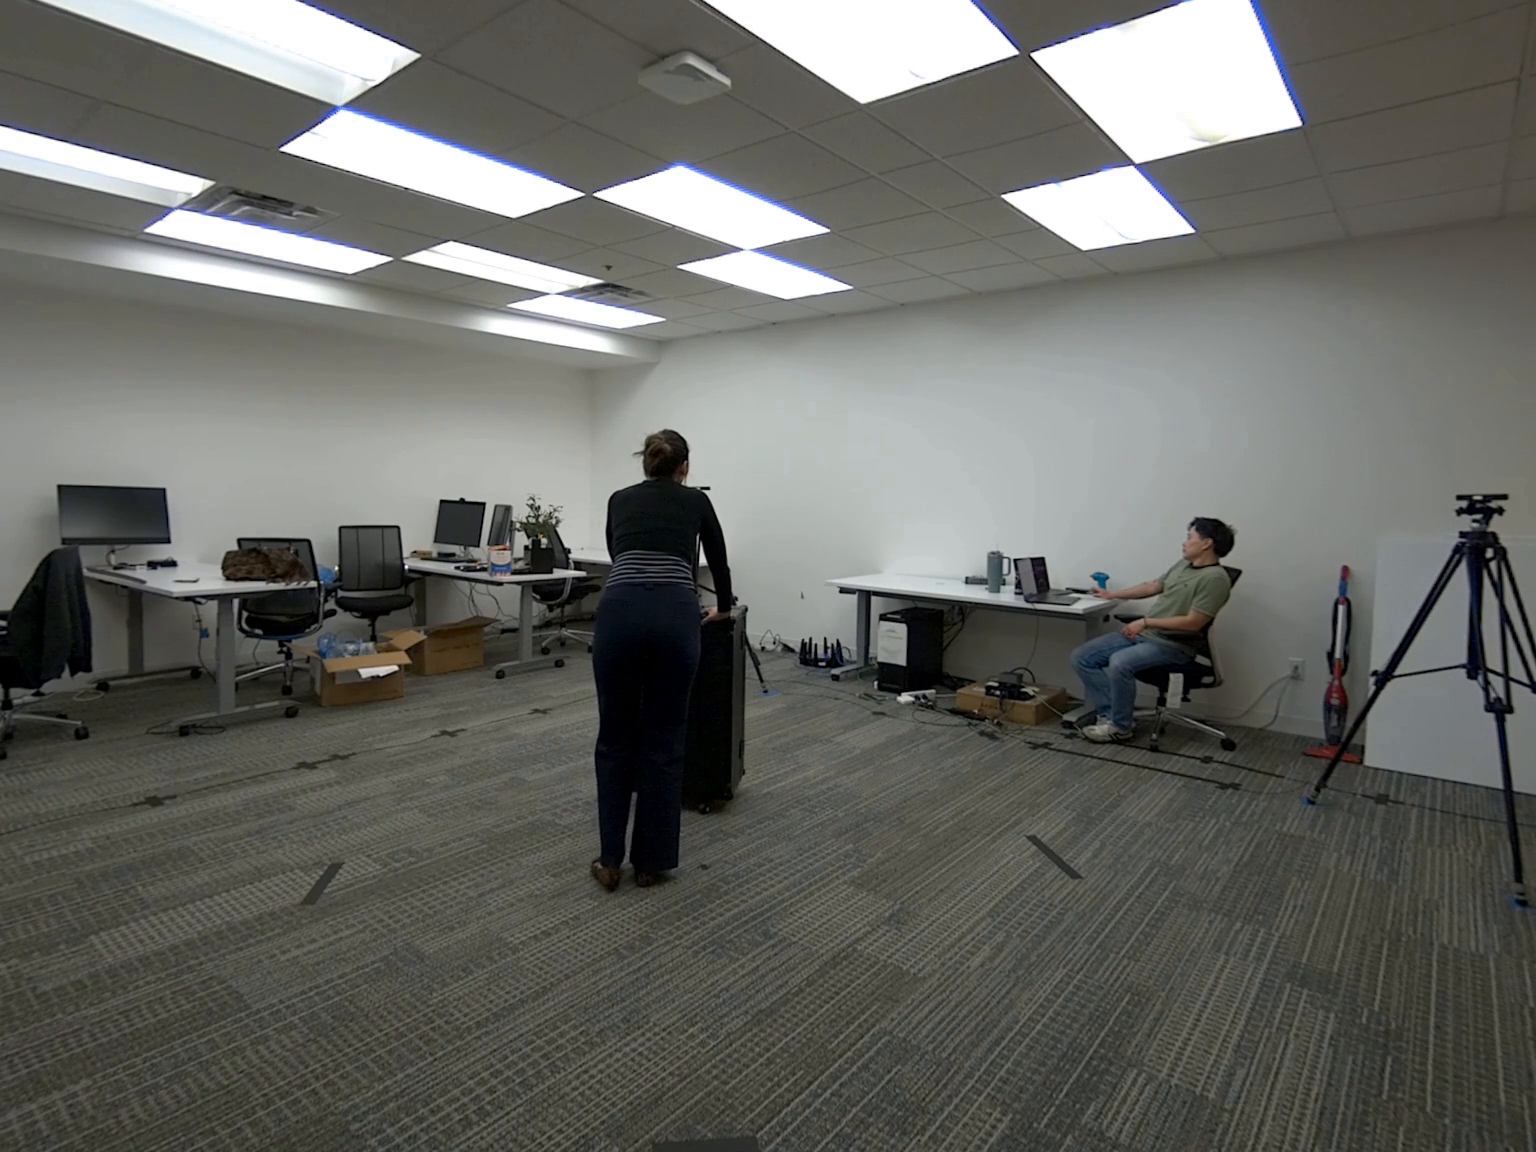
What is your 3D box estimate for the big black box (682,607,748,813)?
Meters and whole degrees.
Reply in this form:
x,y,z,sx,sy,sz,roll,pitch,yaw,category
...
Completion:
x,y,z,sx,sy,sz,roll,pitch,yaw,category
-0.367,0.574,3.778,0.527,0.858,0.394,2,5,9,big black box
